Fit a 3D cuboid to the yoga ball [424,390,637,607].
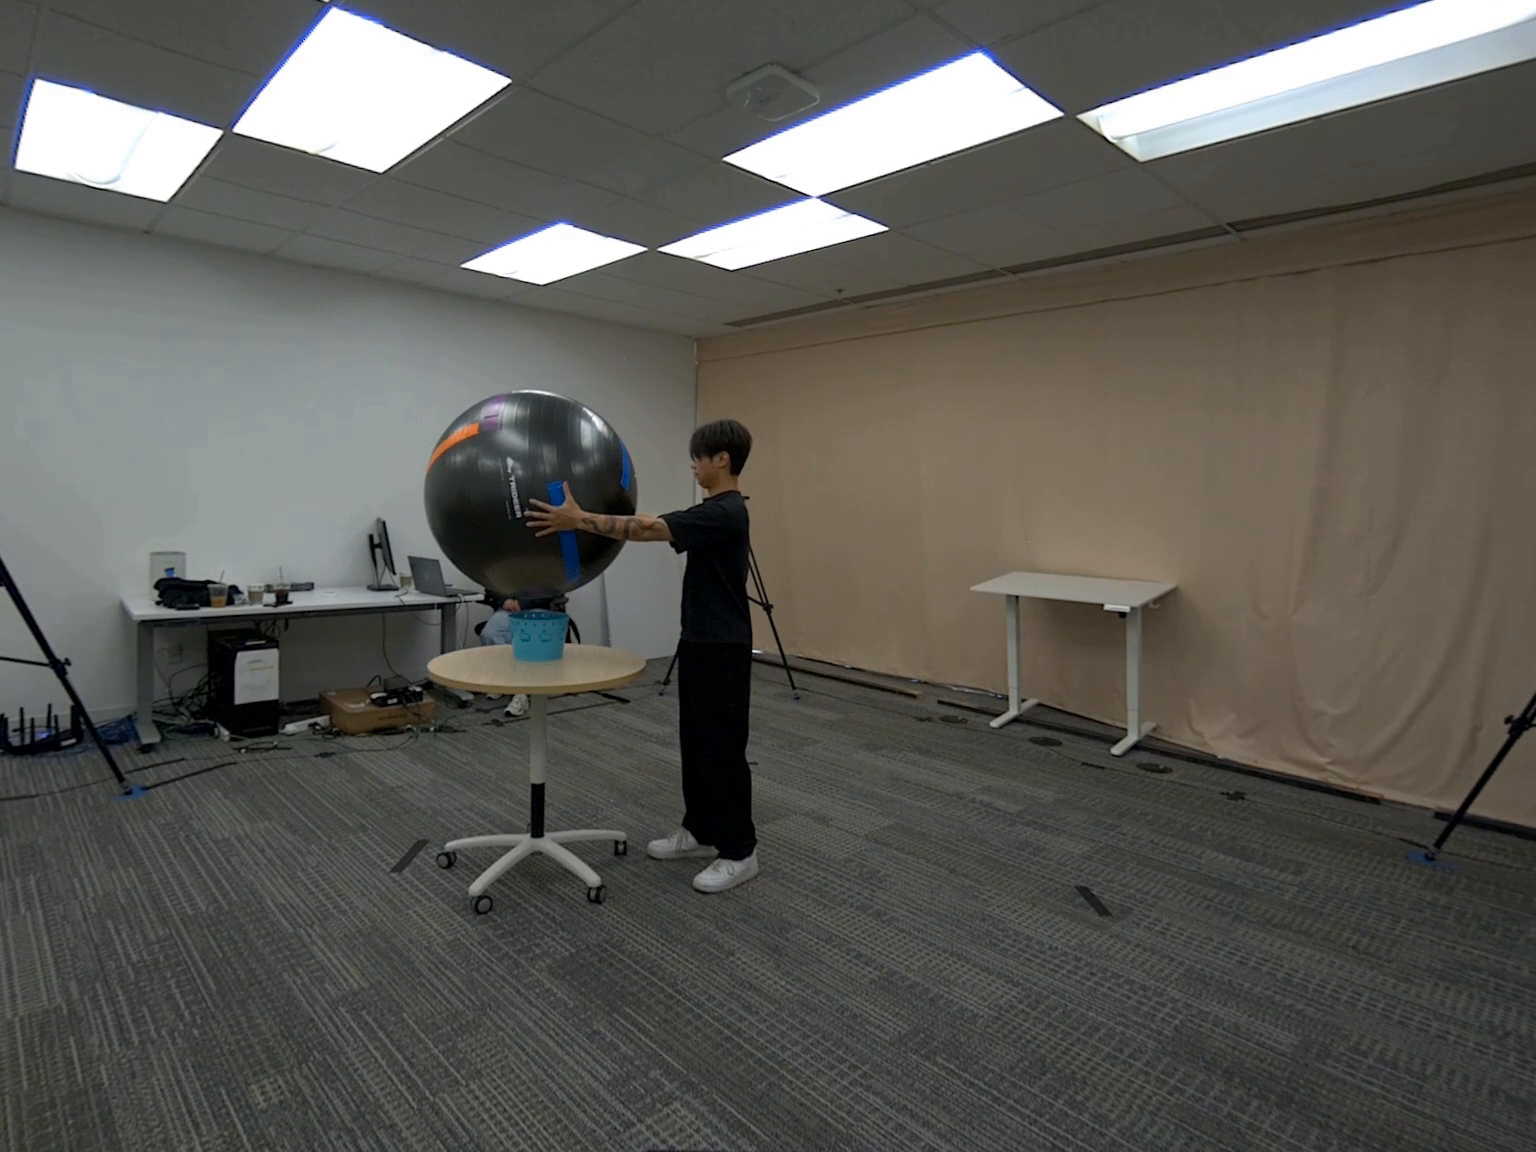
[{"bbox_3d":[-0.873,-0.292,3.094,0.757,0.756,0.761,1,4,-1],"label":"yoga ball"}]
